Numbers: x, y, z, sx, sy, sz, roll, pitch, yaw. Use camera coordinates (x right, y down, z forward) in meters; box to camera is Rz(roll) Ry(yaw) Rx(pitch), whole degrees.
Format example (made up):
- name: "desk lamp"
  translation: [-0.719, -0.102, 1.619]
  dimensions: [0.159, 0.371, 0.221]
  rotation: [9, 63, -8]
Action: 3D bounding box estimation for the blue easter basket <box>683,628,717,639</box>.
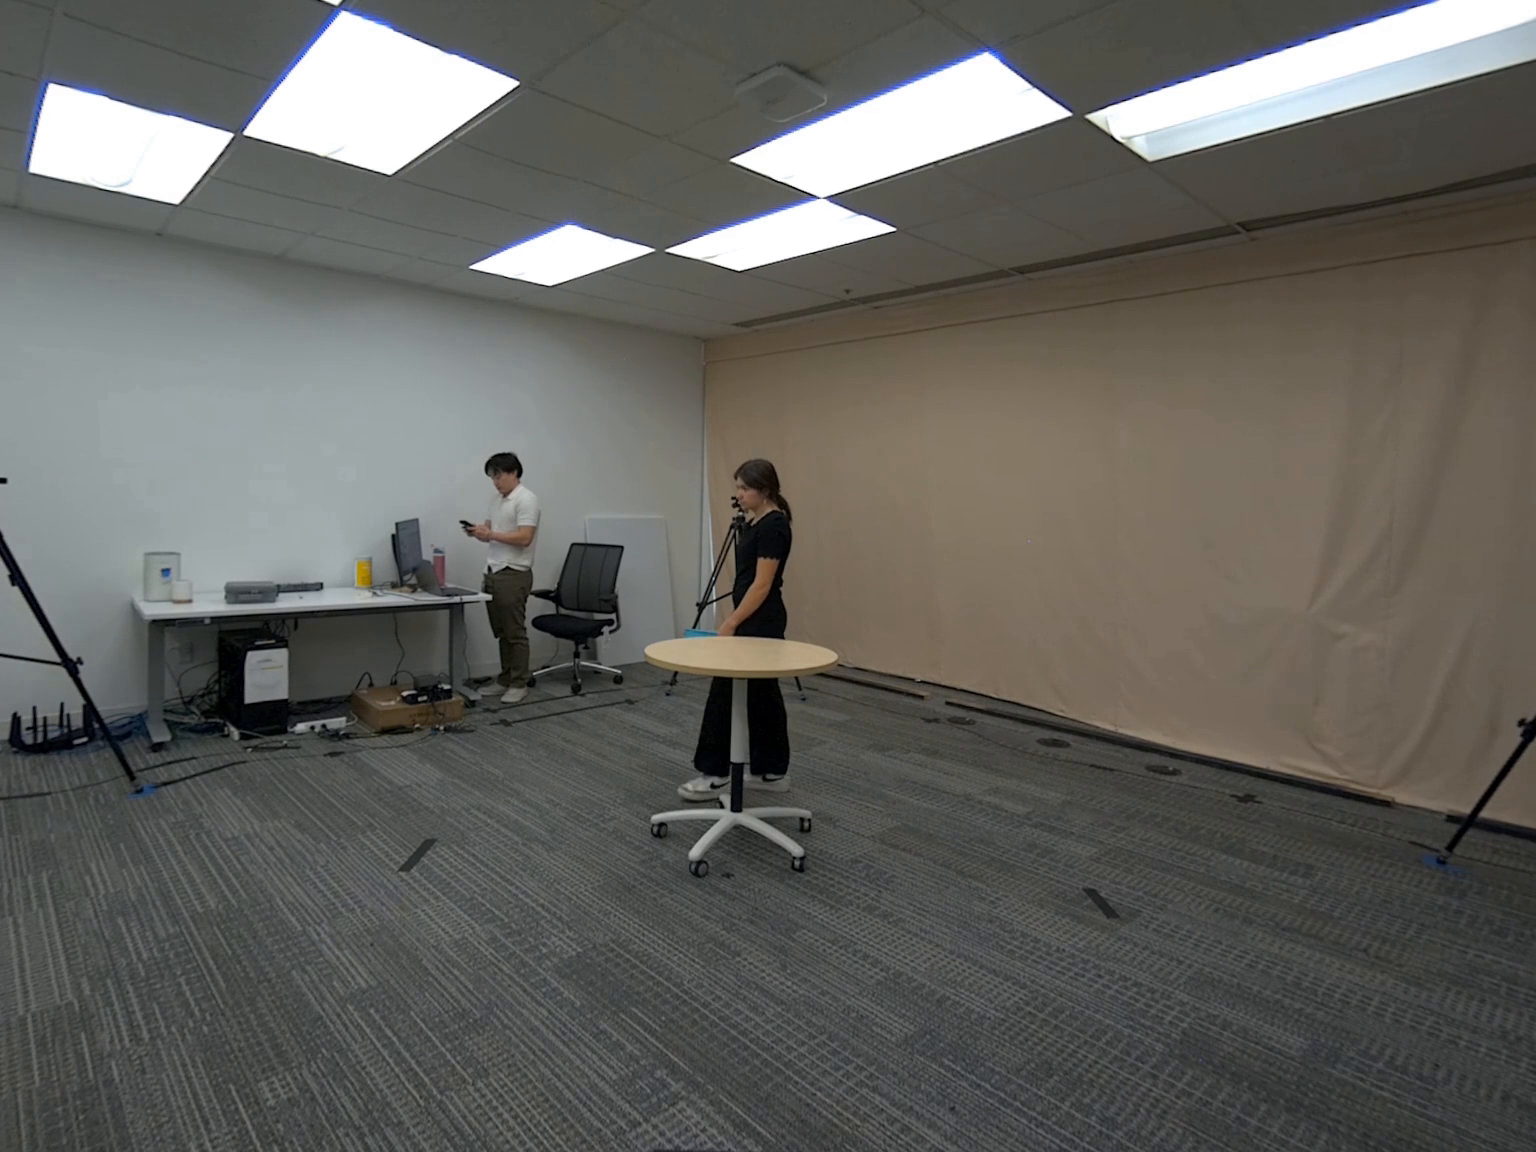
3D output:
- name: "blue easter basket"
  translation: [-0.273, 0.352, 3.977]
  dimensions: [0.244, 0.156, 0.243]
  rotation: [10, -5, -1]
